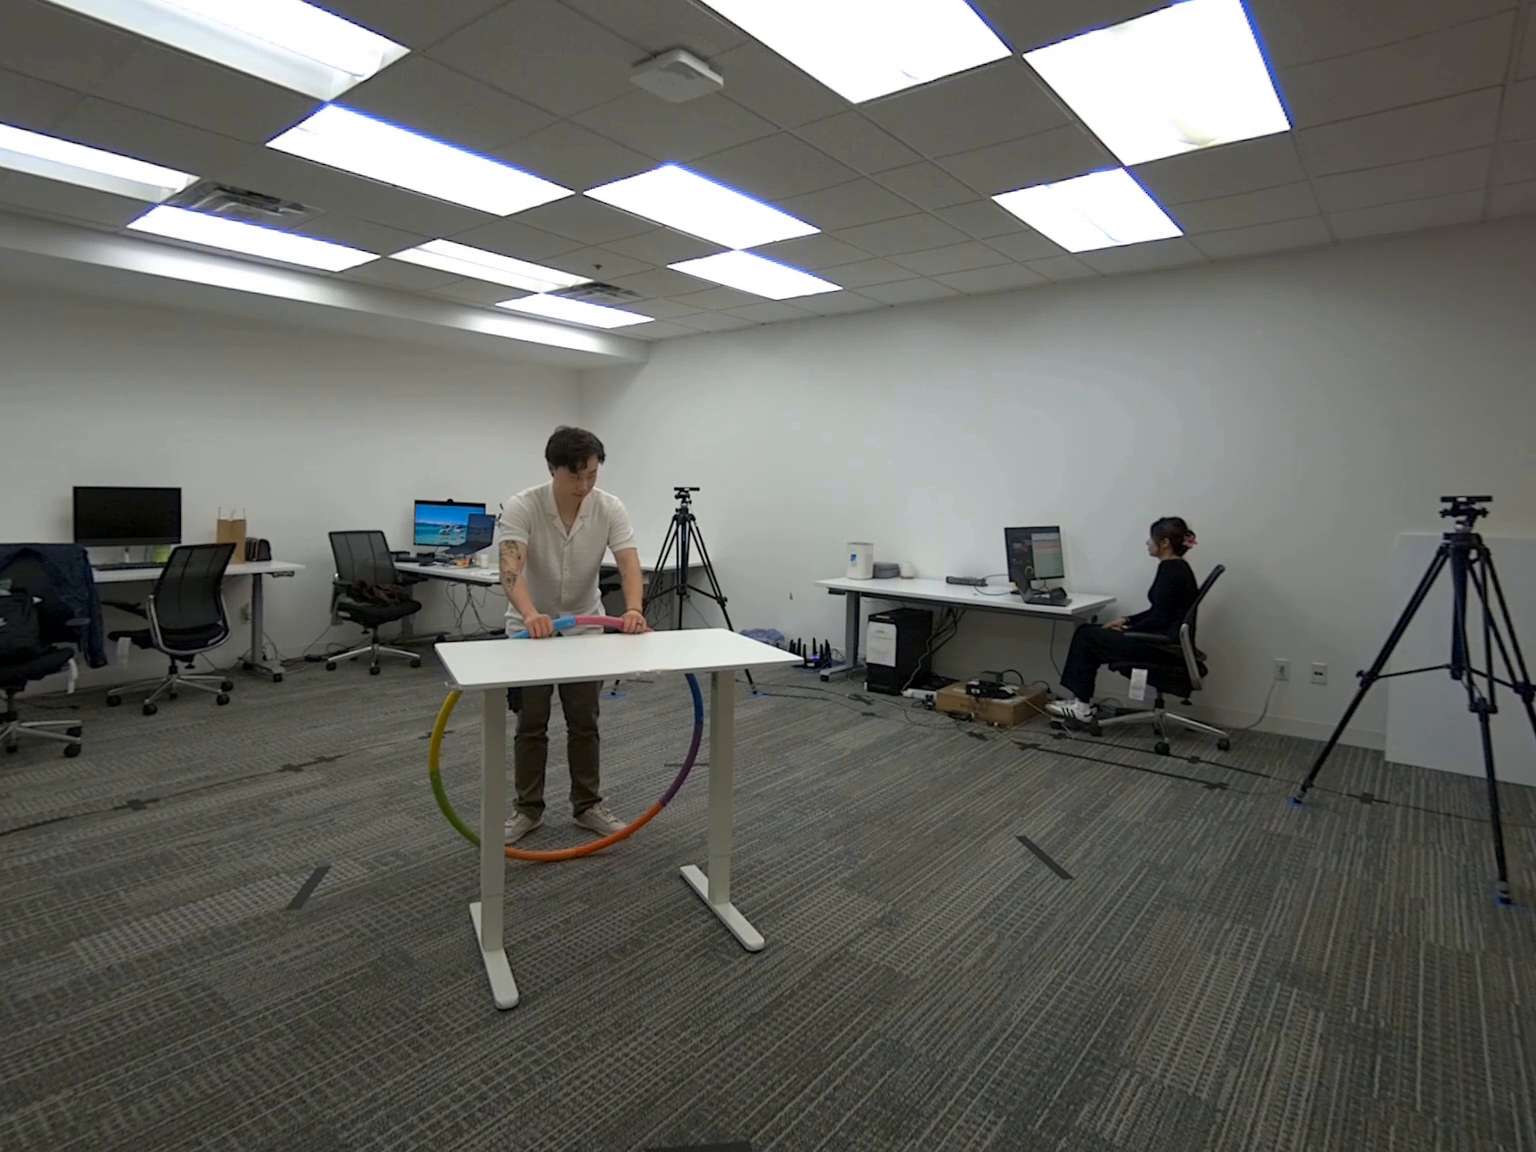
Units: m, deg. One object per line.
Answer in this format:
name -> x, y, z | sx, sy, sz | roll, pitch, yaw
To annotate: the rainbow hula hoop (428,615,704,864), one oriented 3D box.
rainbow hula hoop -> -0.706, 0.590, 3.039 | 0.956, 0.965, 0.037 | -1, 19, -24
